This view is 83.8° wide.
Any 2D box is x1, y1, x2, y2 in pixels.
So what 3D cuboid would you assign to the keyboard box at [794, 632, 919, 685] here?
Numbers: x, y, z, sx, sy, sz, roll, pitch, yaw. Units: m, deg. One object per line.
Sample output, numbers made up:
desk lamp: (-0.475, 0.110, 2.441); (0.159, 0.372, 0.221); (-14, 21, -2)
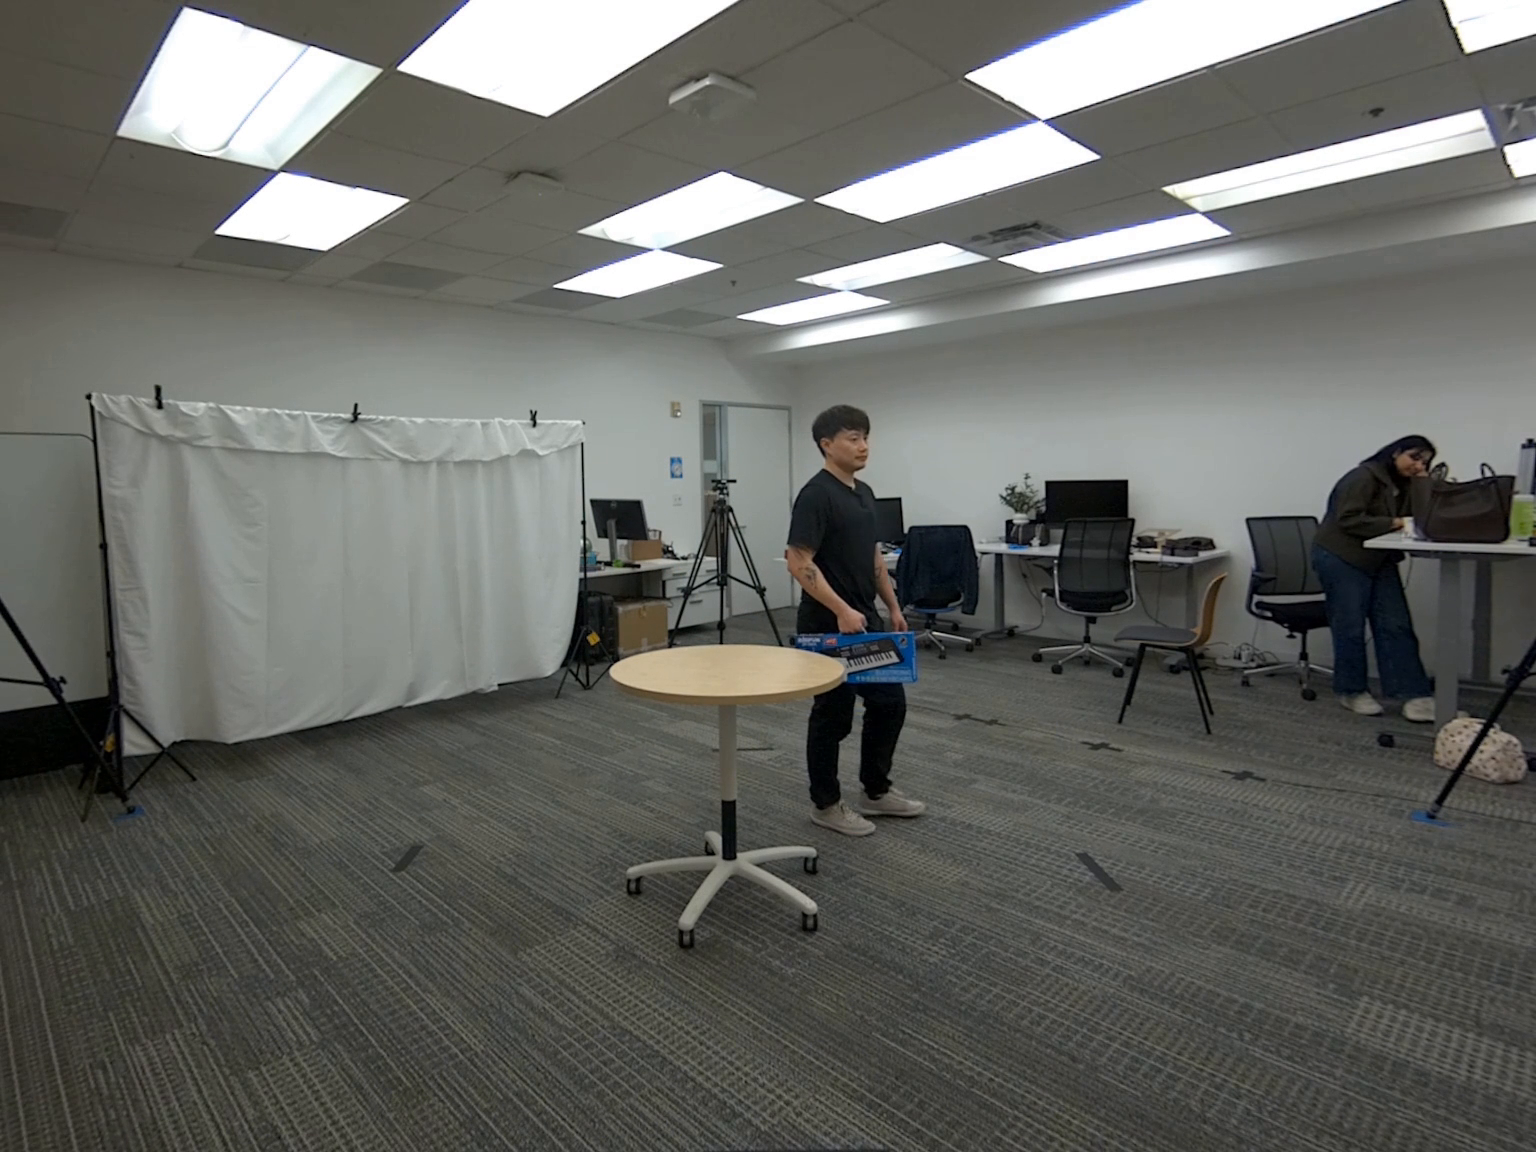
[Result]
keyboard box: (0.313, 0.298, 3.091); (0.446, 0.176, 0.058); (-4, 0, 27)
